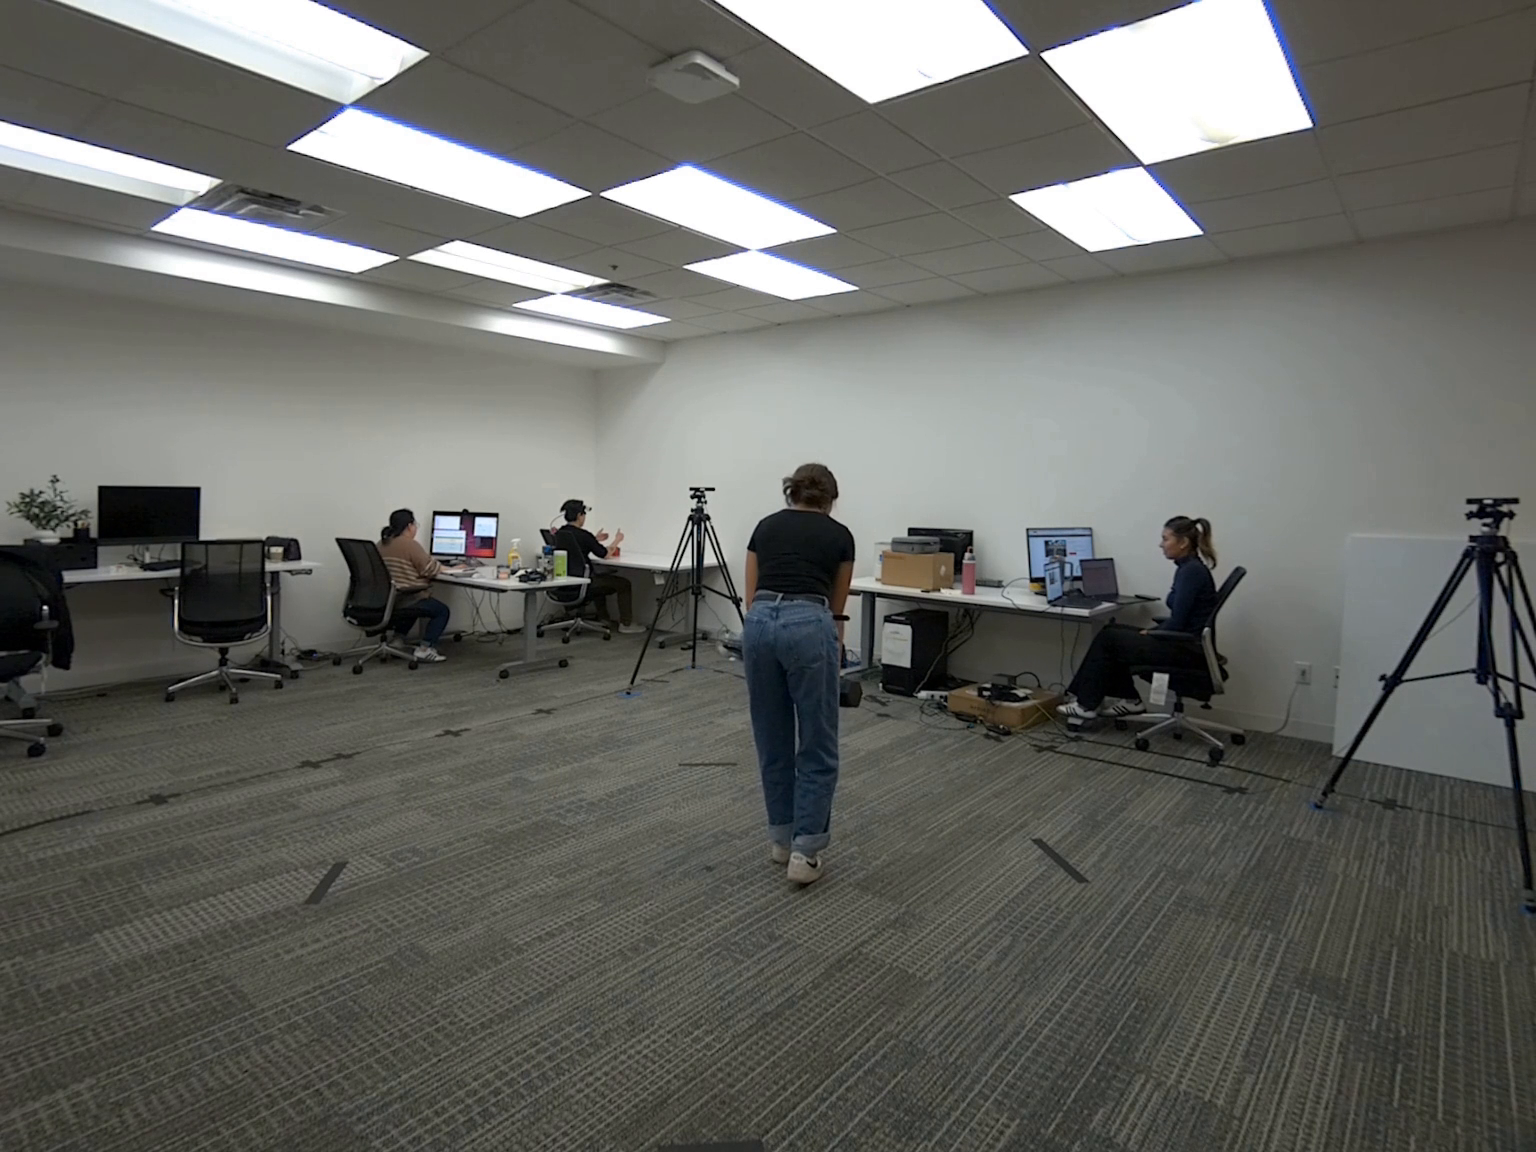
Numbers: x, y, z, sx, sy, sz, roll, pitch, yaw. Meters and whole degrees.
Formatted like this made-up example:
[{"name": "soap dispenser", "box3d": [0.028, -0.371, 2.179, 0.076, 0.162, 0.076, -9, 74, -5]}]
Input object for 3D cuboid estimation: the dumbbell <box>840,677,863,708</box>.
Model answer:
[{"name": "dumbbell", "box3d": [0.206, 0.443, 3.256, 0.302, 0.124, 0.104, -1, -38, 40]}]
